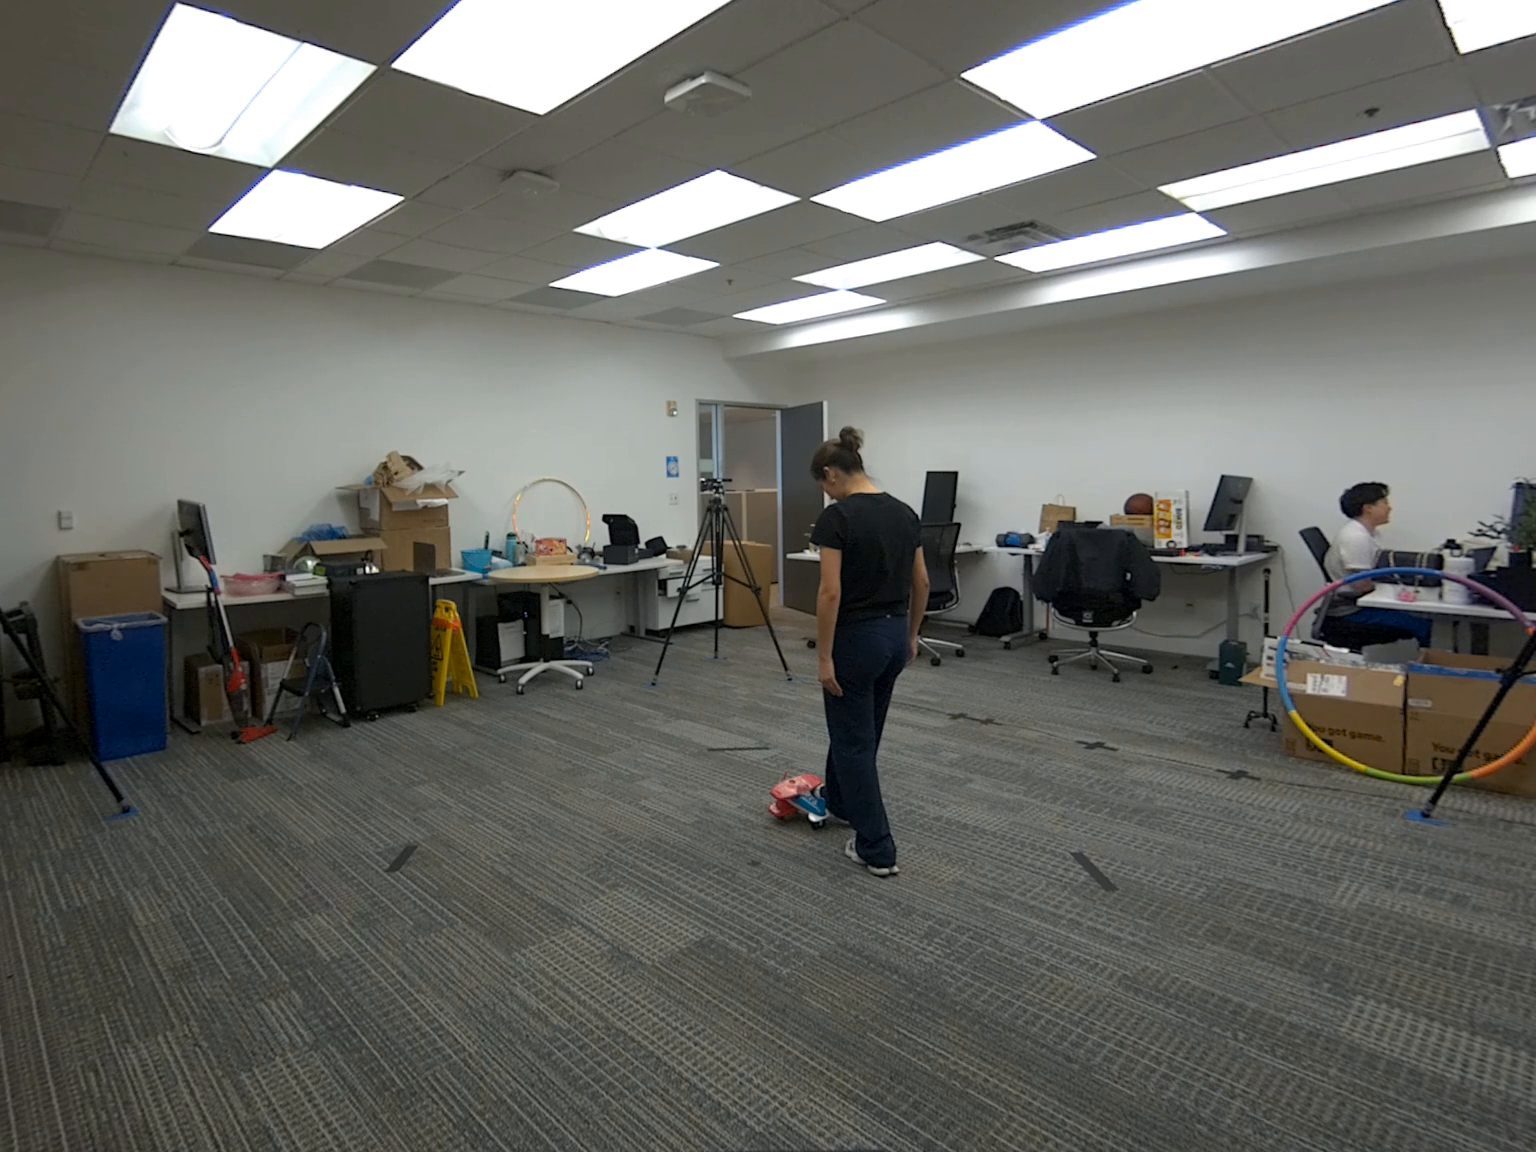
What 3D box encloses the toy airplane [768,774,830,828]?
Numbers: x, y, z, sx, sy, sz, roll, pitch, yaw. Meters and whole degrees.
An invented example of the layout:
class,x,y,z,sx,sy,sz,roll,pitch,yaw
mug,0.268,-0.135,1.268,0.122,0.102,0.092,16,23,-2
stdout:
class,x,y,z,sx,sy,sz,roll,pitch,yaw
toy airplane,0.153,0.920,3.509,0.264,0.155,0.247,-1,7,22
